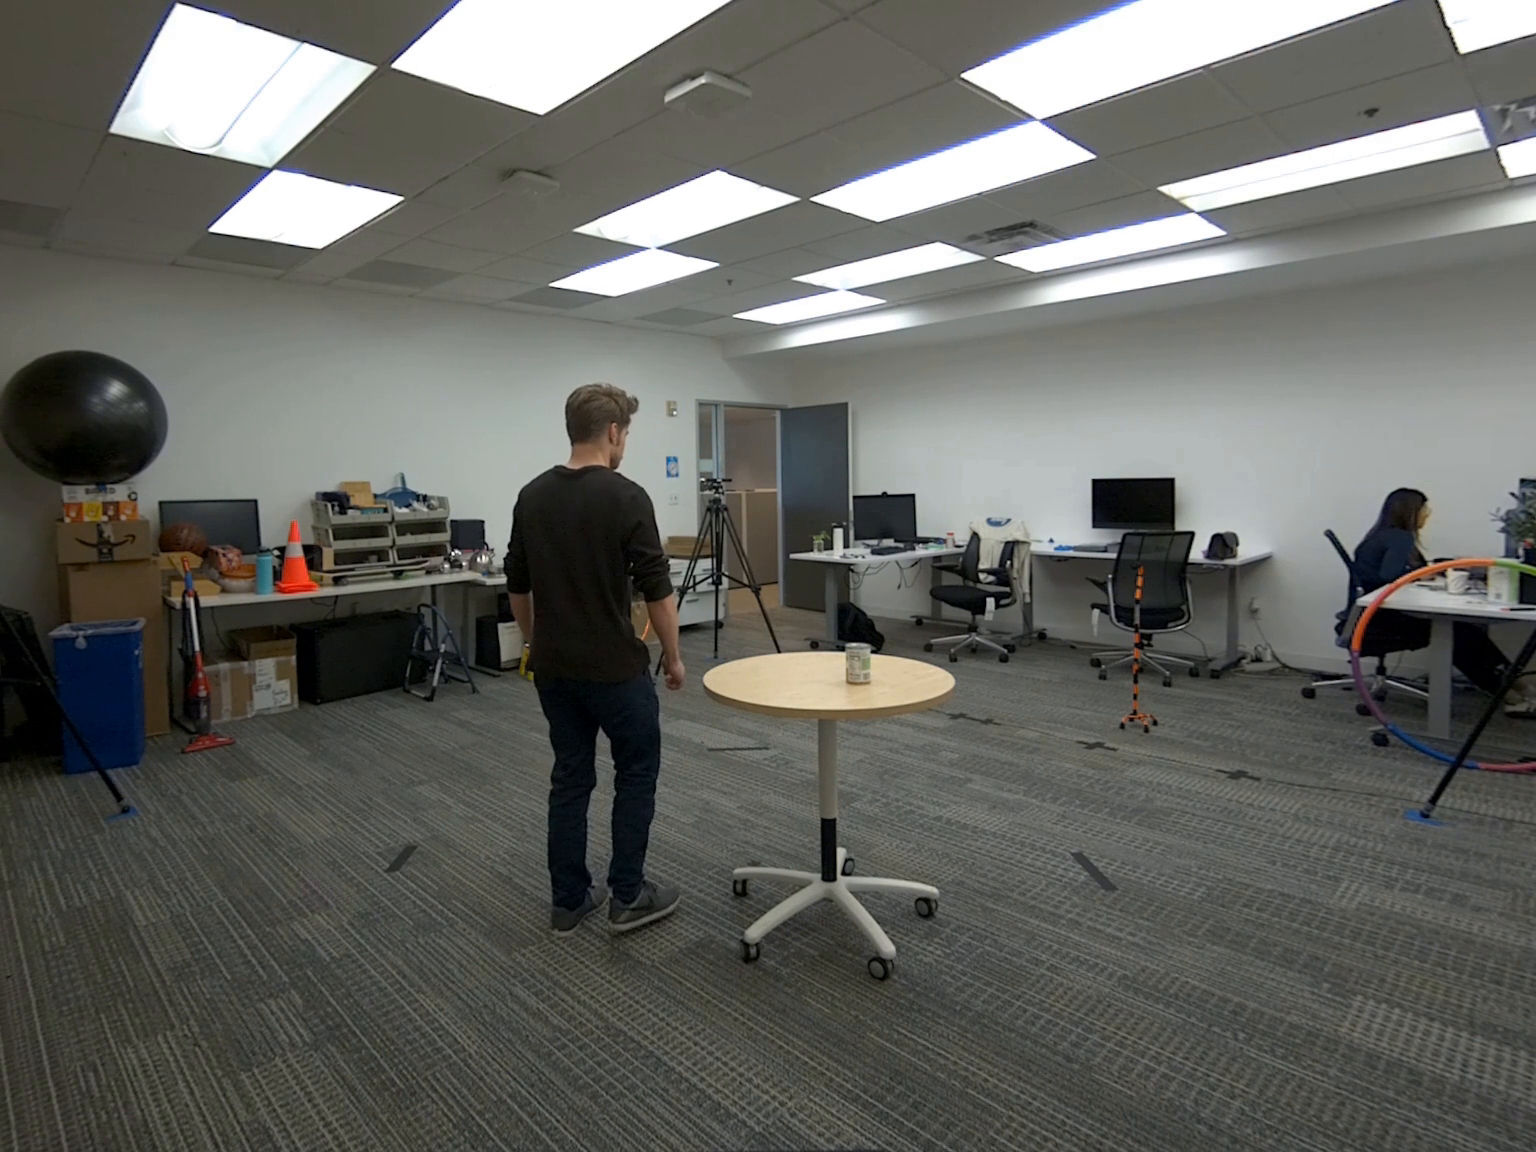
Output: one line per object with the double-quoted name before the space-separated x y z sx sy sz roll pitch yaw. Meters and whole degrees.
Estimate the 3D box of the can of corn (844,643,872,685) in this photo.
"can of corn" 0.271 0.260 2.545 0.074 0.110 0.075 -2 9 -1
